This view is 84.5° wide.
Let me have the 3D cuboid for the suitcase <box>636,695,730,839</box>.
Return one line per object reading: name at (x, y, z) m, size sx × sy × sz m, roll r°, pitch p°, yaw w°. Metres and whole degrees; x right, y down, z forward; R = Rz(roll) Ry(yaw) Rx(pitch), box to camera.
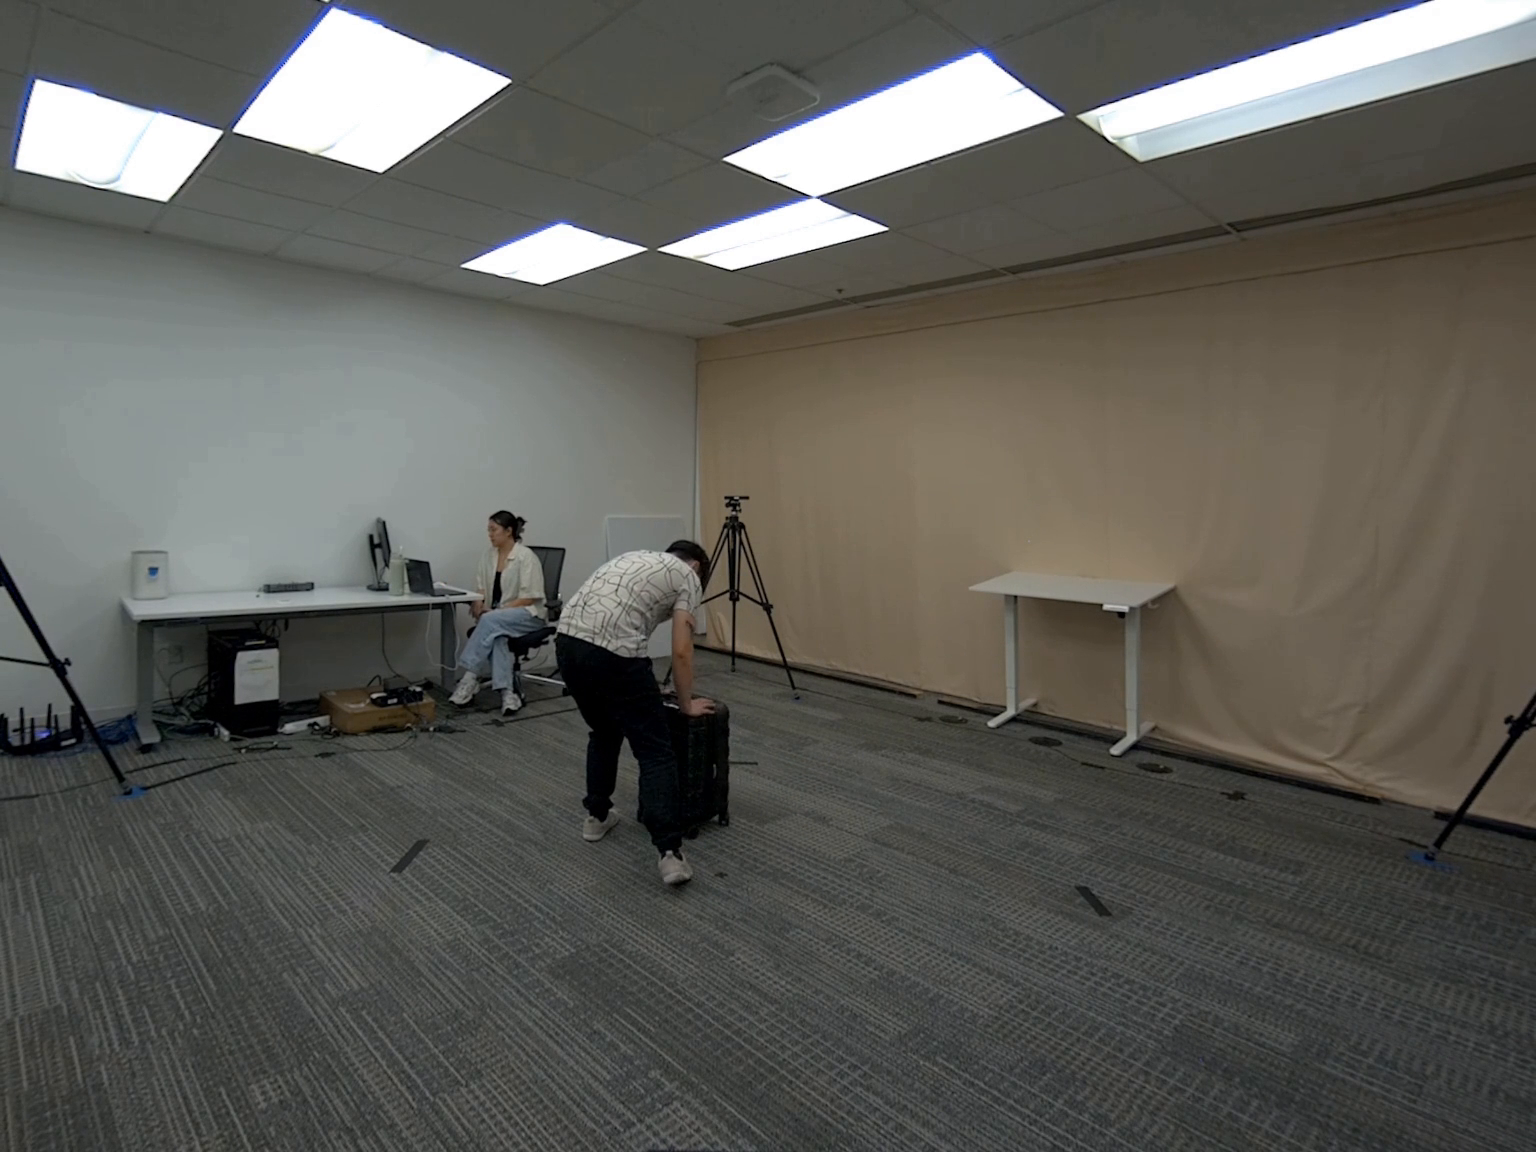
suitcase at (-0.367, 0.779, 3.593) m, size 0.385 × 0.548 × 0.243 m, roll 5°, pitch 5°, yaw 44°
